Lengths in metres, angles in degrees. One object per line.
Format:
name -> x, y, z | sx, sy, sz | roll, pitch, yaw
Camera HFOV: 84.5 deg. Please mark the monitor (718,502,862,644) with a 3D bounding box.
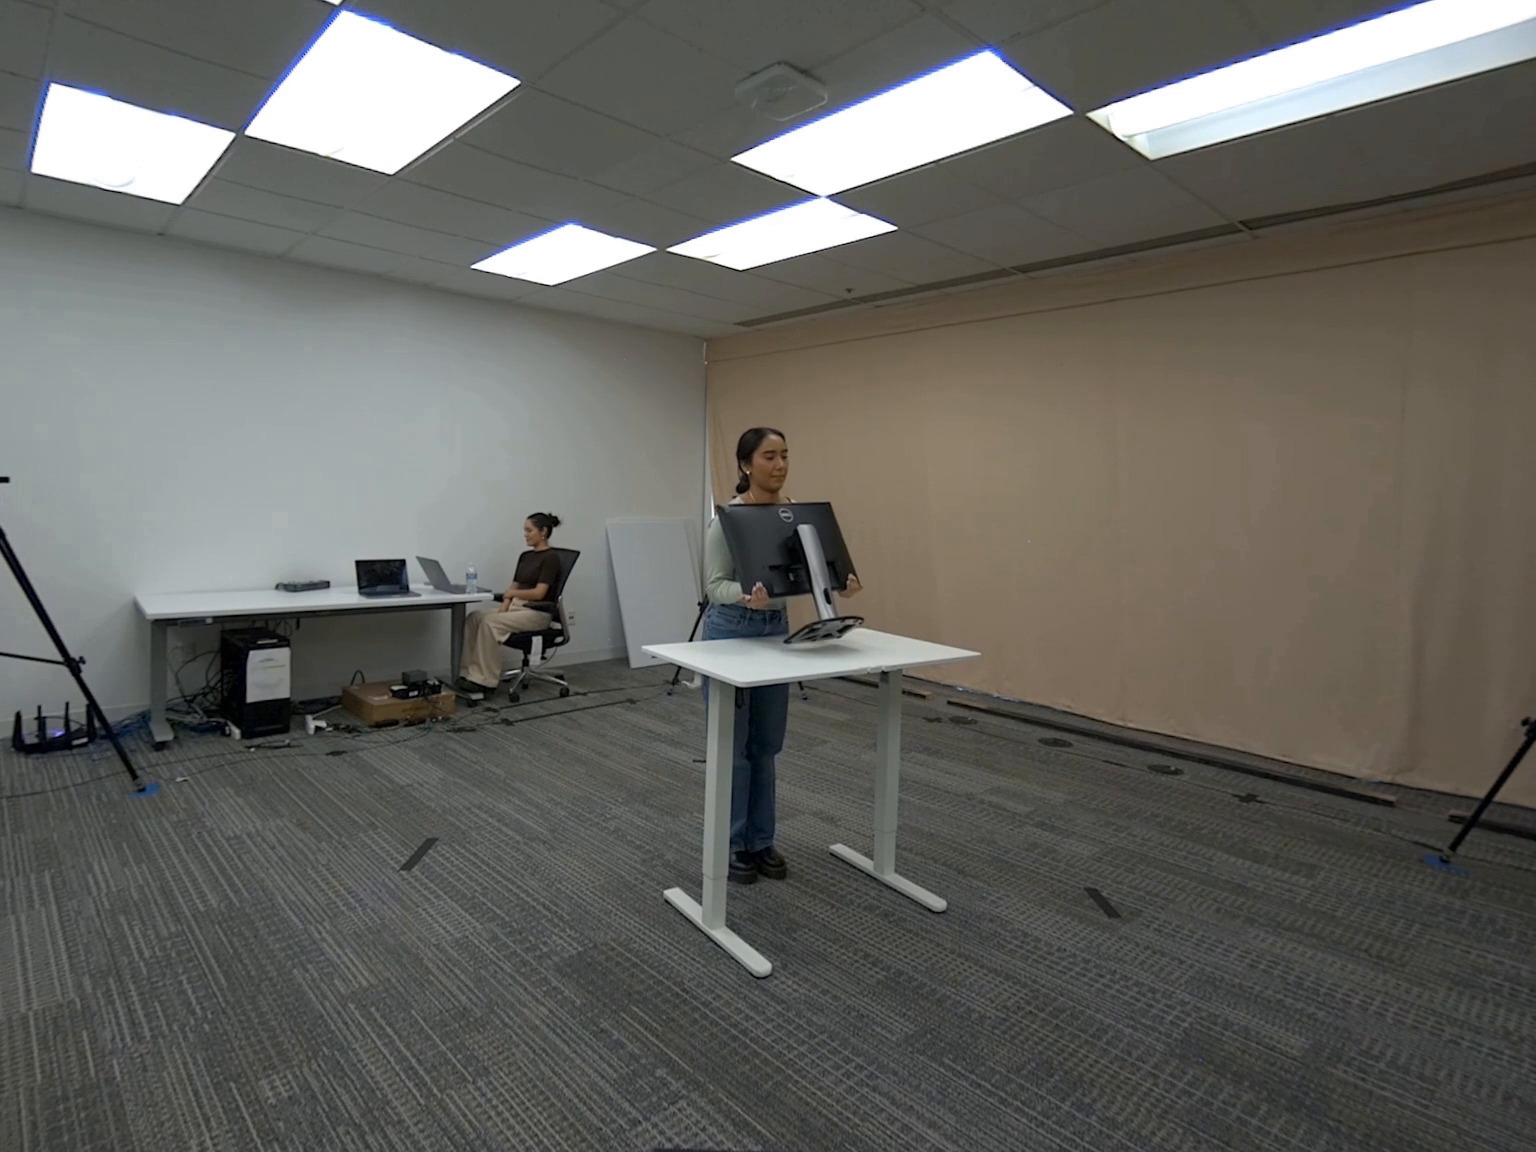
monitor -> 0.113, -0.034, 2.922 | 0.527, 0.534, 0.187 | -3, -31, -40
